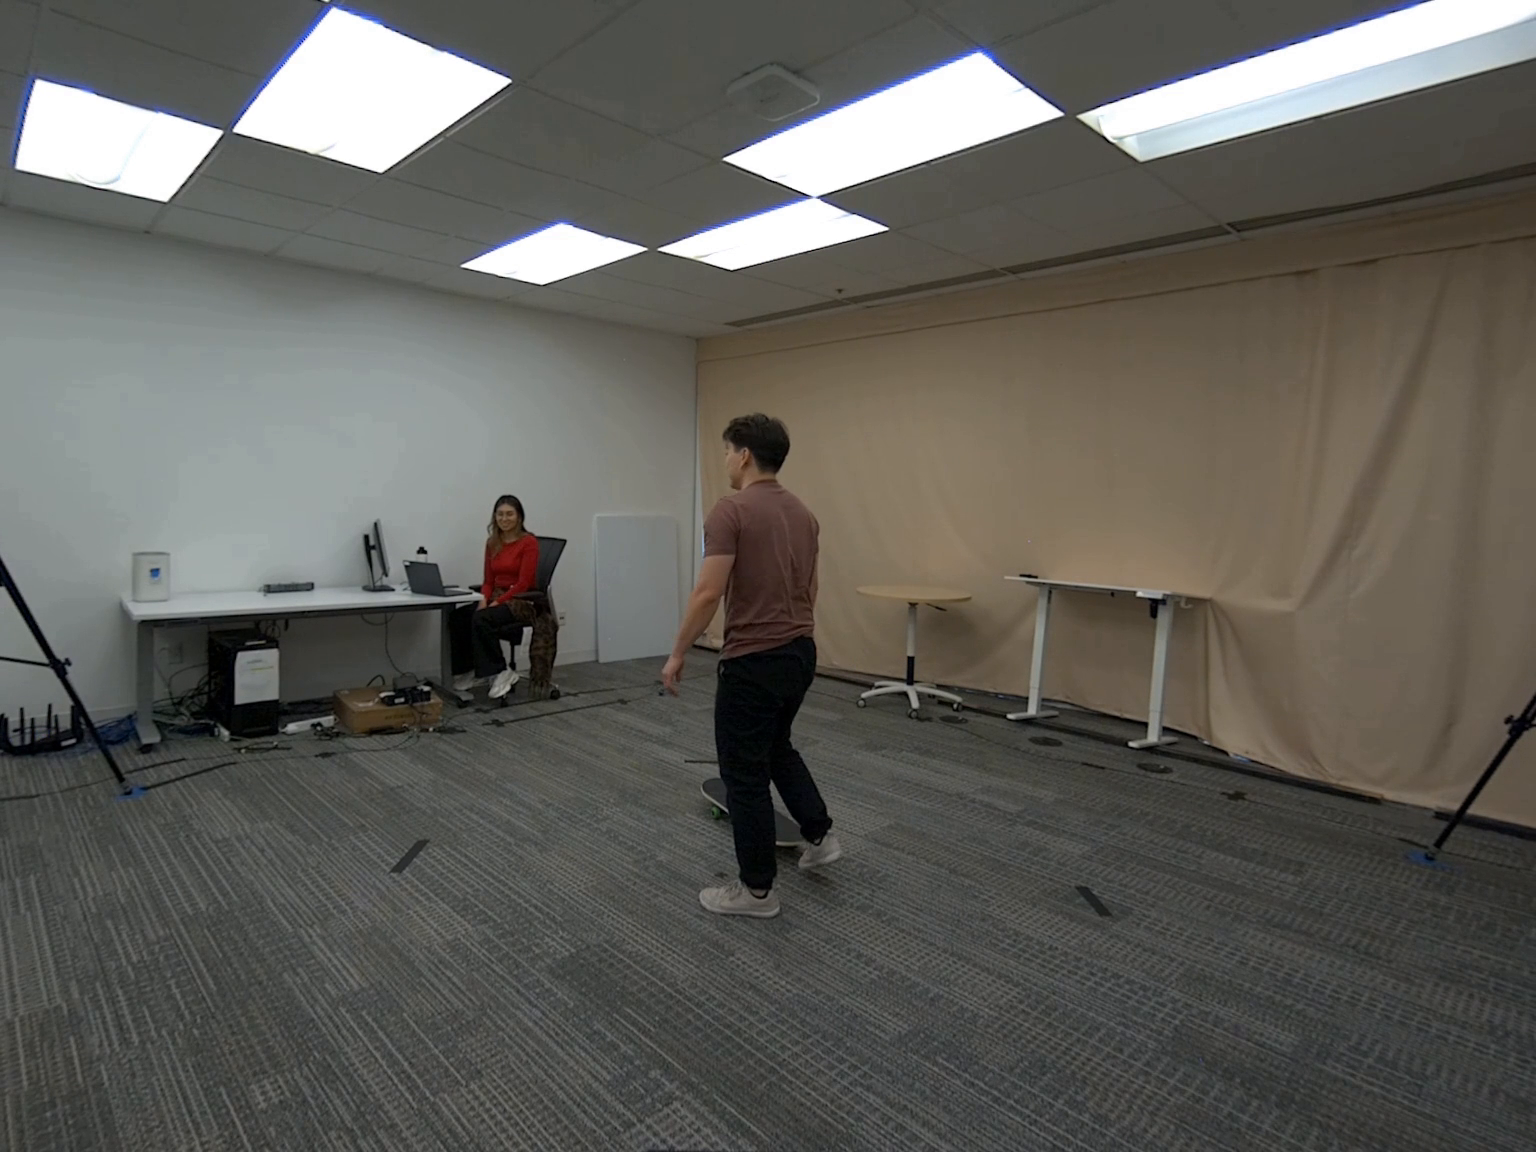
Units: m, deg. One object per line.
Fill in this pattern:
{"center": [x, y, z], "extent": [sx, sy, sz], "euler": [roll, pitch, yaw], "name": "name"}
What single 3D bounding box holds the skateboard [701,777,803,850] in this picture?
{"center": [-0.071, 1.019, 3.515], "extent": [0.189, 0.110, 0.803], "euler": [0, 5, -29], "name": "skateboard"}
